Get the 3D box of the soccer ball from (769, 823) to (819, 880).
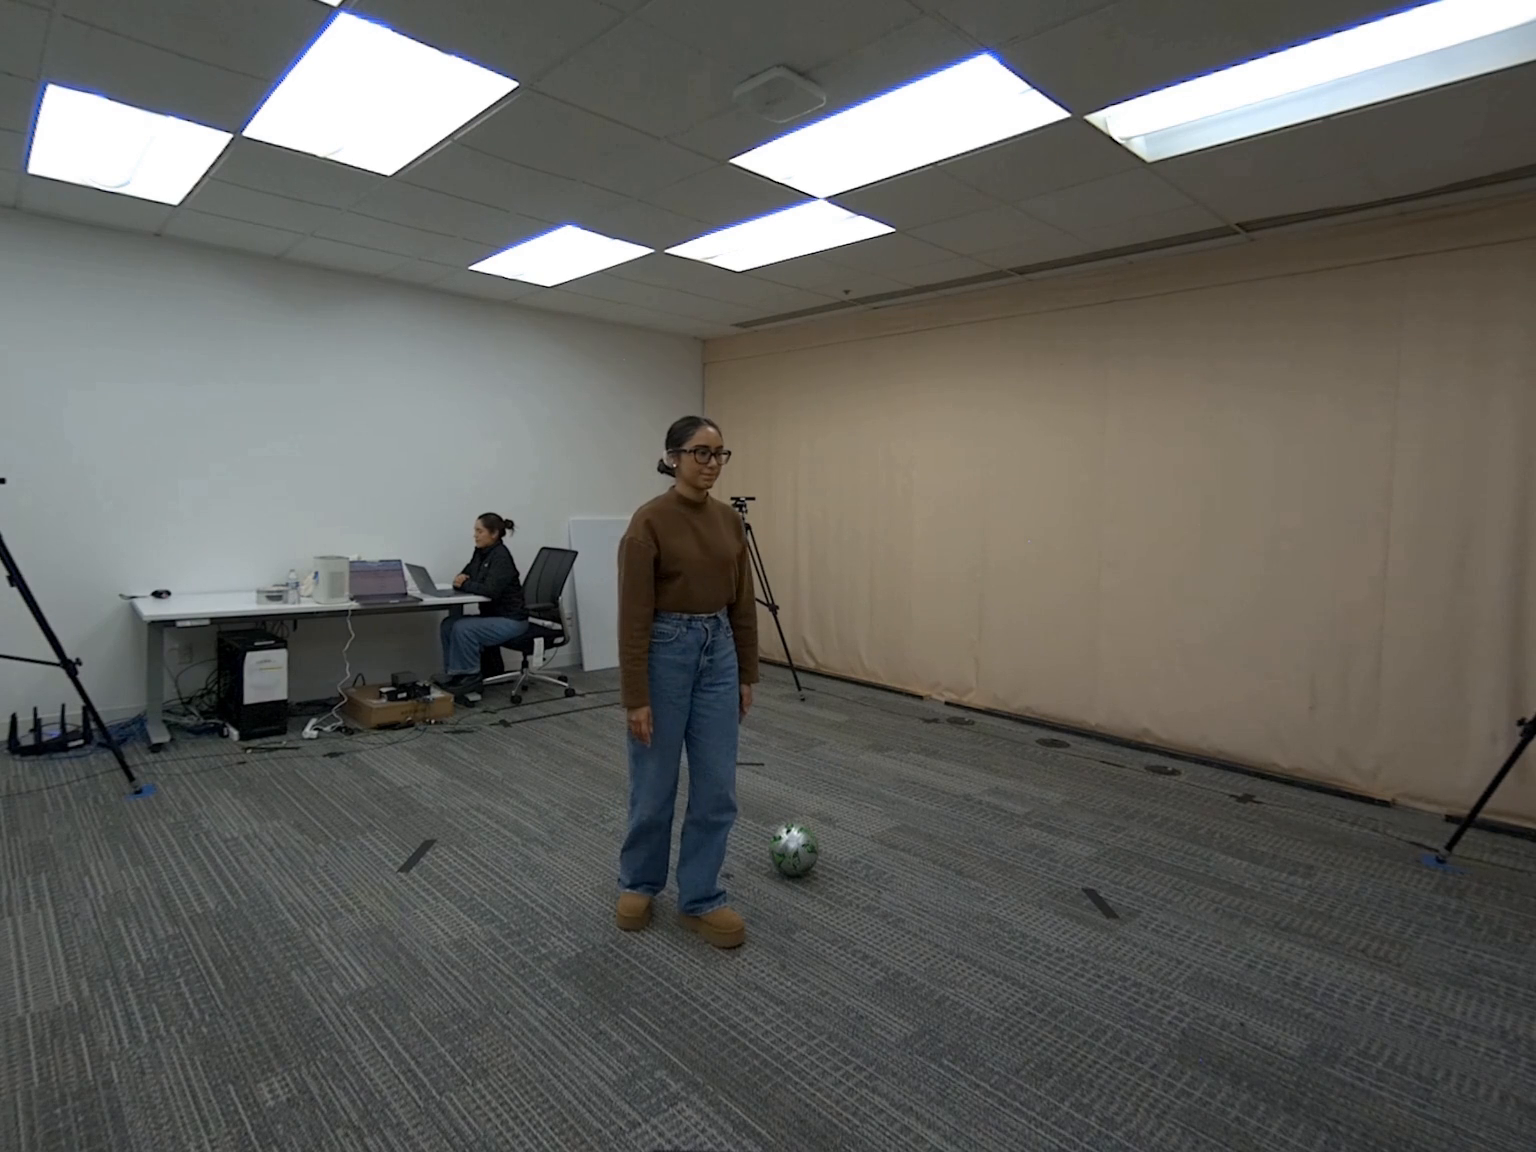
[{"bbox_3d":[0.086,1.014,3.130,0.187,0.187,0.188,1,4,-1],"label":"soccer ball"}]
